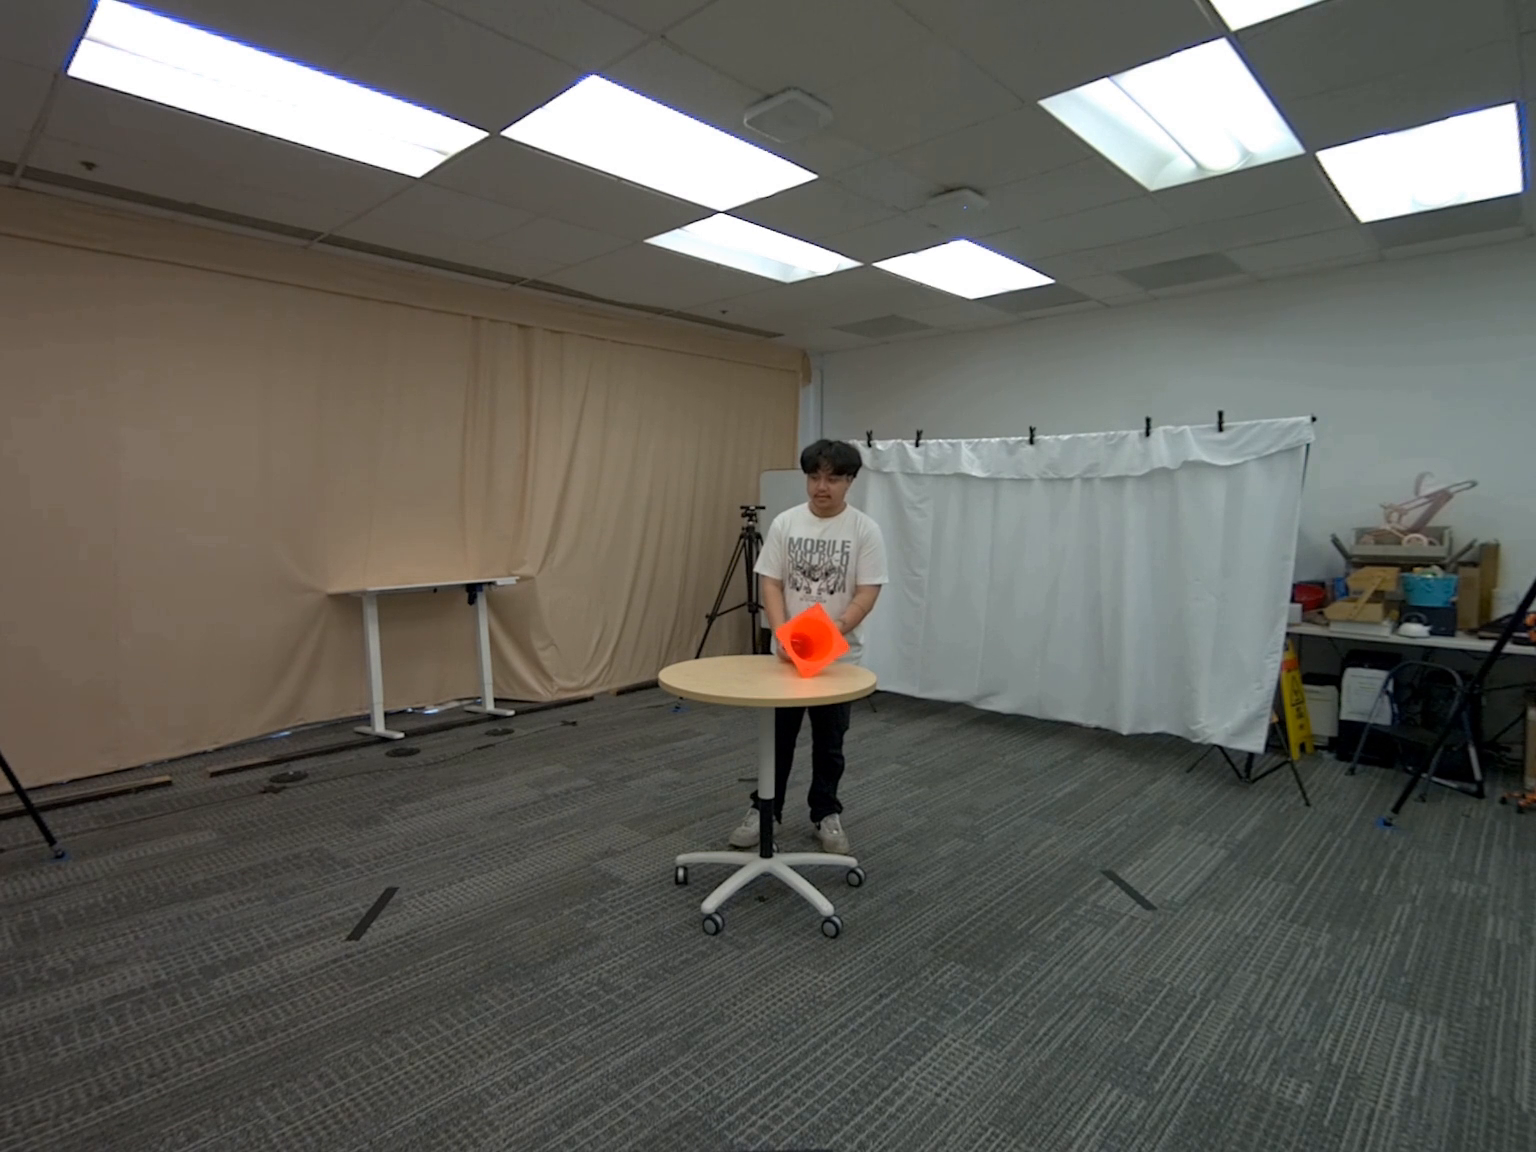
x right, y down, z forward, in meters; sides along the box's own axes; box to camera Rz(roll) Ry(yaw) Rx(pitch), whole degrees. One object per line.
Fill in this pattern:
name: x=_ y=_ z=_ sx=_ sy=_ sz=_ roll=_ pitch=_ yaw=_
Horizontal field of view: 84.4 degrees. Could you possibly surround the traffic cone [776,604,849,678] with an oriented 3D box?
traffic cone: x=0.110 y=0.266 z=3.129 sx=0.204 sy=0.204 sz=0.383 roll=44 pitch=-12 yaw=3
